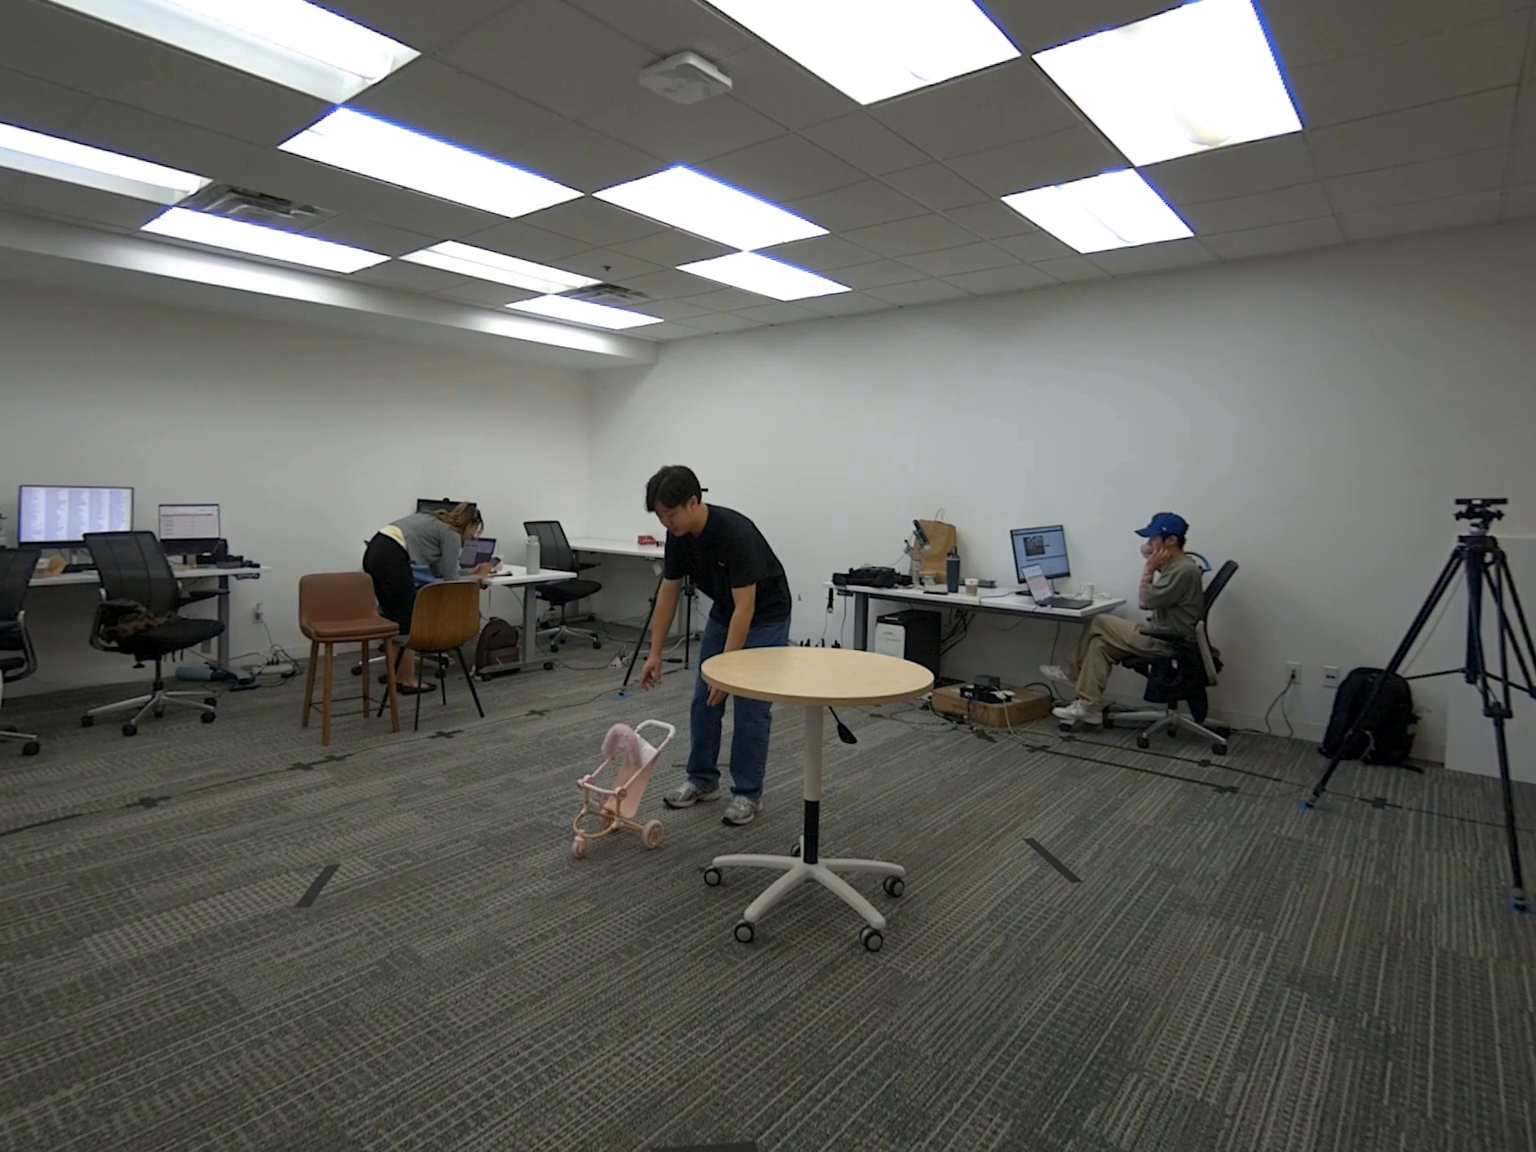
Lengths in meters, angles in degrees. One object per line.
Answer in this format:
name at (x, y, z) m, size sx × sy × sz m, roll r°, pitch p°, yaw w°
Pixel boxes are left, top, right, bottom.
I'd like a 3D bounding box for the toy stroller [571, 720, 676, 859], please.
toy stroller at (-0.593, 0.816, 3.317) m, size 0.291 × 0.538 × 0.328 m, roll 4°, pitch -11°, yaw 45°
